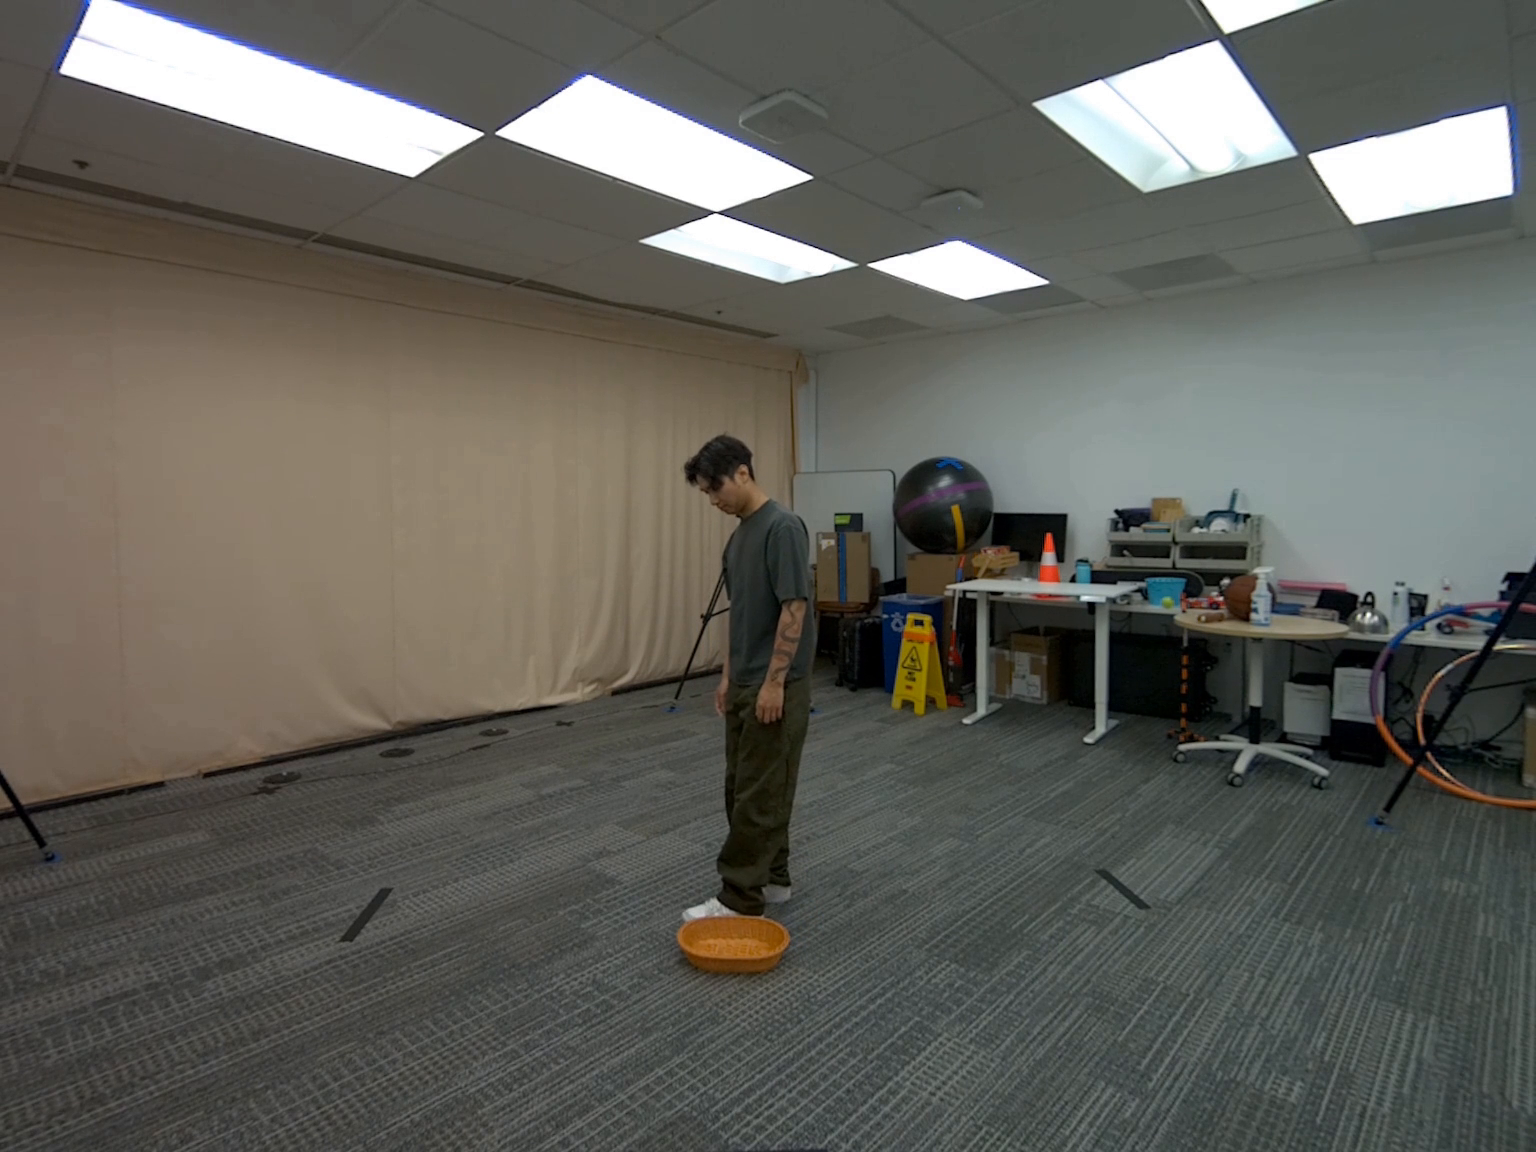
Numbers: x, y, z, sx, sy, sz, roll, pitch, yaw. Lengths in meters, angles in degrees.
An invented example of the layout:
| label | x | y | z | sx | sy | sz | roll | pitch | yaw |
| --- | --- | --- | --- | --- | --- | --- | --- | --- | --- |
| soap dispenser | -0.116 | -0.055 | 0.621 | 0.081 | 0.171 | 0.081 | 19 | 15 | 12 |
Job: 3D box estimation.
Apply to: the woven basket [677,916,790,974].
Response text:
| label | x | y | z | sx | sy | sz | roll | pitch | yaw |
| --- | --- | --- | --- | --- | --- | --- | --- | --- | --- |
| woven basket | -0.107 | 1.132 | 2.591 | 0.352 | 0.073 | 0.252 | 0 | 5 | 4 |
